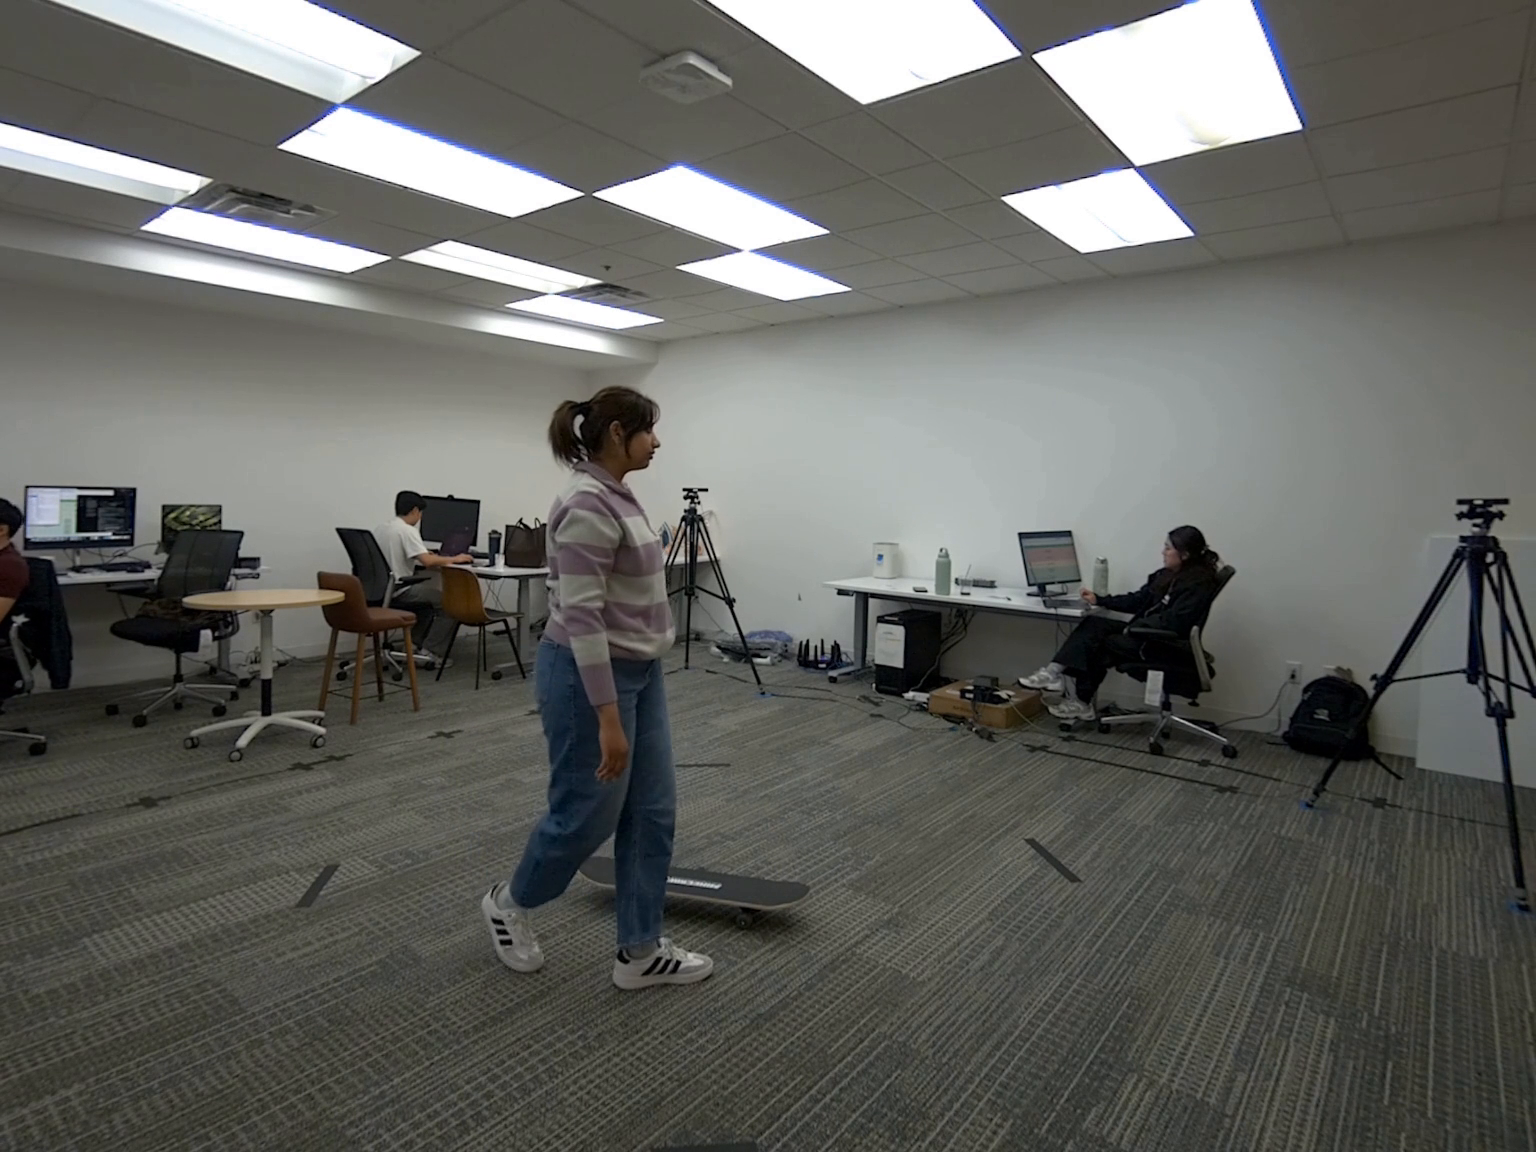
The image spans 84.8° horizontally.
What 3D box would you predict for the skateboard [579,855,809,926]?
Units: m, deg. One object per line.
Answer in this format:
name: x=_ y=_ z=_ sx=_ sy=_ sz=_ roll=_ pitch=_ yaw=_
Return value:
skateboard: x=-0.265 y=1.037 z=2.810 sx=0.797 sy=0.110 sz=0.191 roll=2 pitch=4 yaw=13
